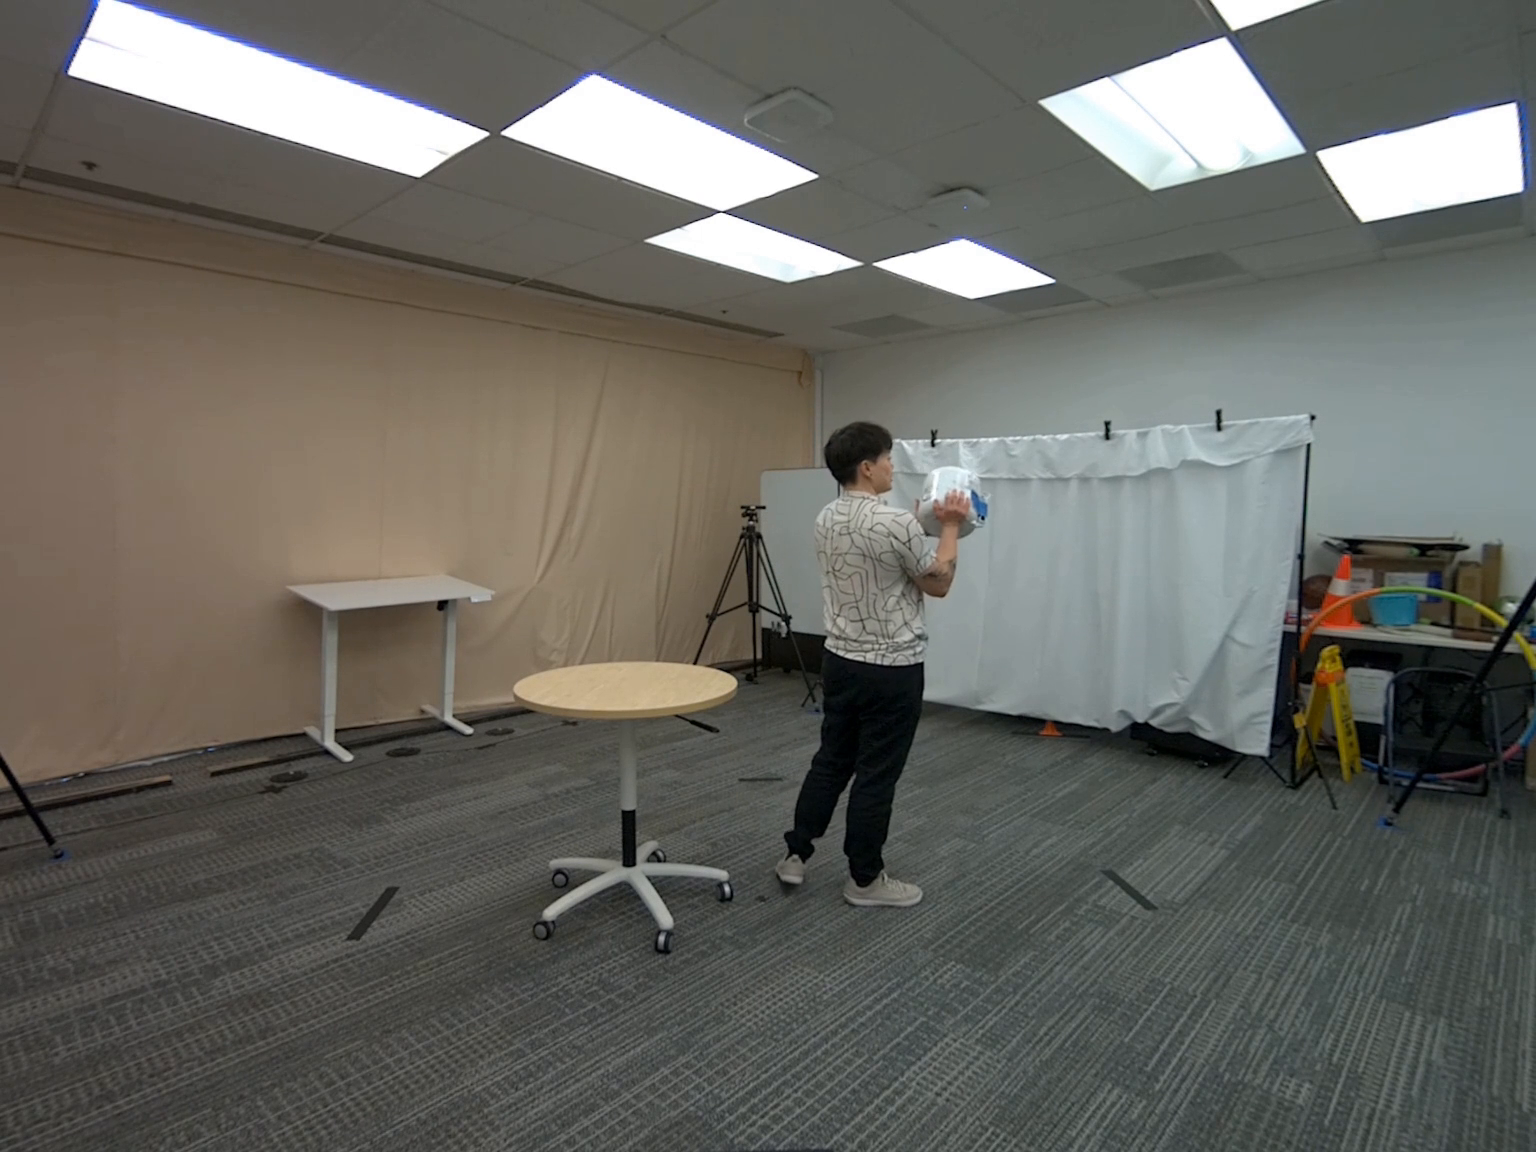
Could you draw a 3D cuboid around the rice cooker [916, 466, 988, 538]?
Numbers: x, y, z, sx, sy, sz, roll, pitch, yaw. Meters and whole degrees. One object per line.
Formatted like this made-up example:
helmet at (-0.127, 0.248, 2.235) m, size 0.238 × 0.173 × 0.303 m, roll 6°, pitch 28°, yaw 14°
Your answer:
rice cooker at (0.672, -0.273, 3.050) m, size 0.212 × 0.234 × 0.224 m, roll 37°, pitch -41°, yaw -22°
